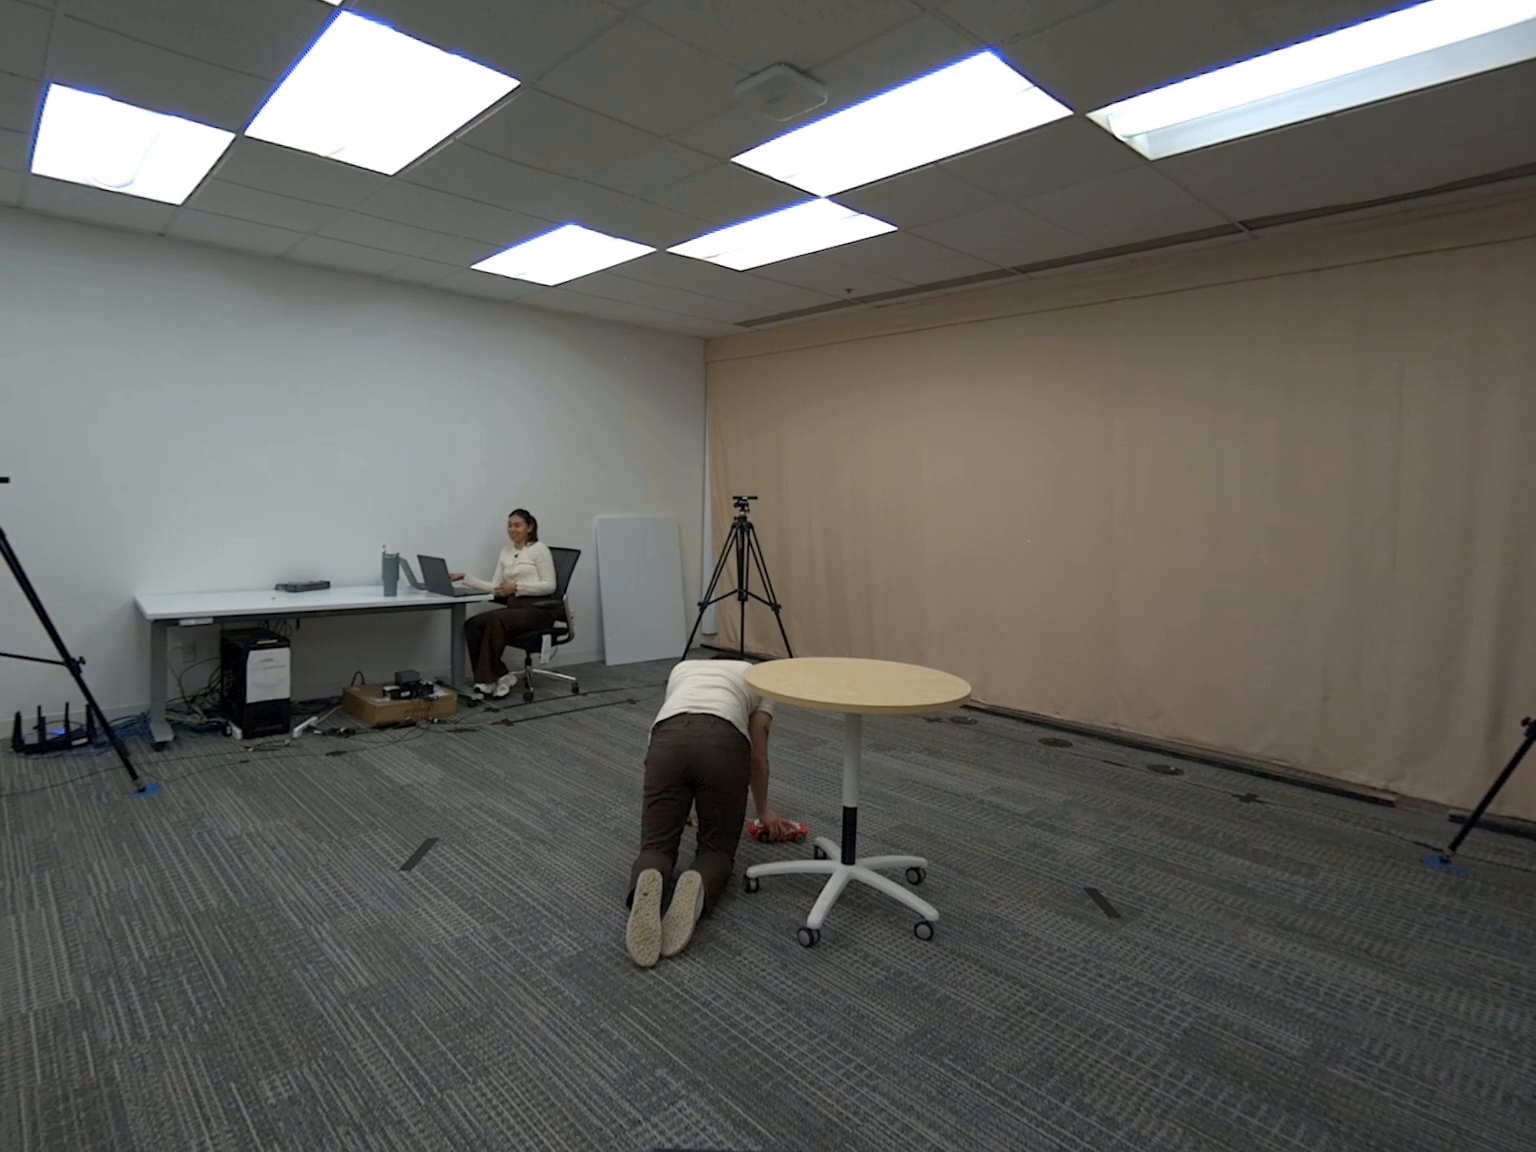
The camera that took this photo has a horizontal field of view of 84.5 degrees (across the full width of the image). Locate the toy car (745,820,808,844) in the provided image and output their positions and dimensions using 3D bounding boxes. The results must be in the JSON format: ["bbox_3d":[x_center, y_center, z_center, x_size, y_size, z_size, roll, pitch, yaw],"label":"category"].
[{"bbox_3d":[0.011,1.046,3.459,0.253,0.083,0.131,12,4,-5],"label":"toy car"}]
